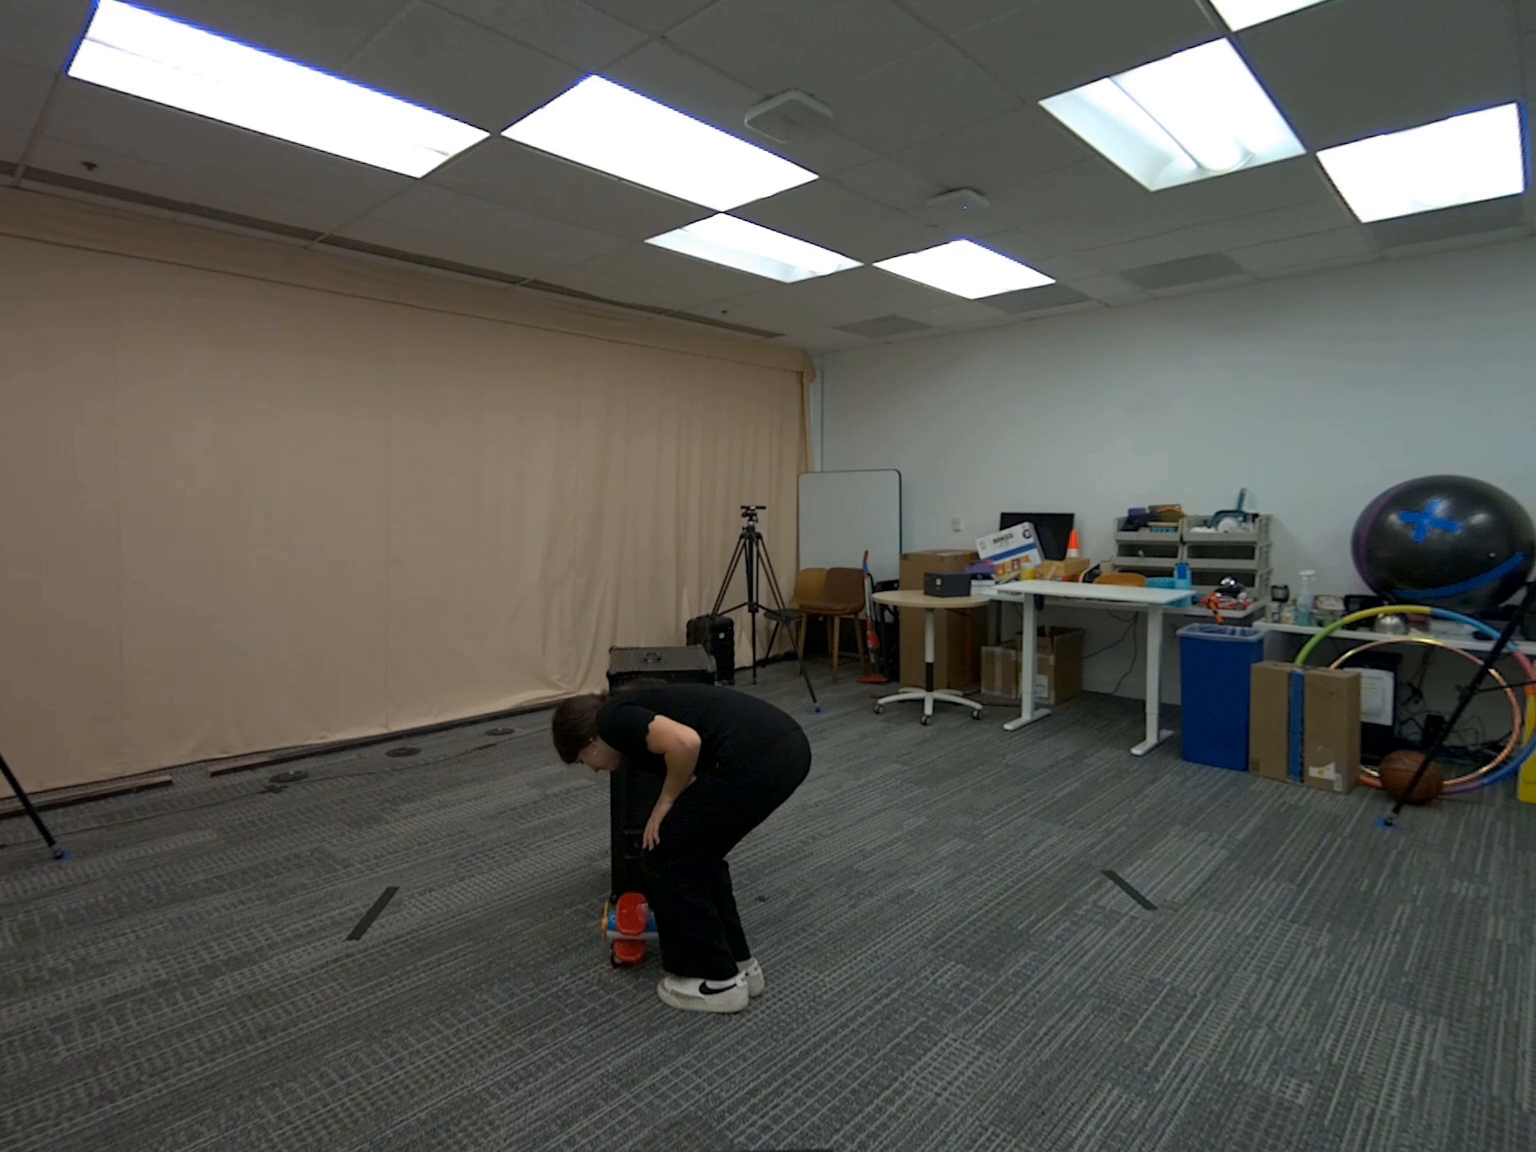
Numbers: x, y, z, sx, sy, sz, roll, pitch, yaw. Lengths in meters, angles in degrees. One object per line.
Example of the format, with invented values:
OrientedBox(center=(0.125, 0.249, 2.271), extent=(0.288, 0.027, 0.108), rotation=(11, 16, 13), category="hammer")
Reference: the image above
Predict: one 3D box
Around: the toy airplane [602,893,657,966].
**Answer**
OrientedBox(center=(-0.382, 1.088, 2.613), extent=(0.253, 0.156, 0.258), rotation=(-13, 6, -31), category="toy airplane")
